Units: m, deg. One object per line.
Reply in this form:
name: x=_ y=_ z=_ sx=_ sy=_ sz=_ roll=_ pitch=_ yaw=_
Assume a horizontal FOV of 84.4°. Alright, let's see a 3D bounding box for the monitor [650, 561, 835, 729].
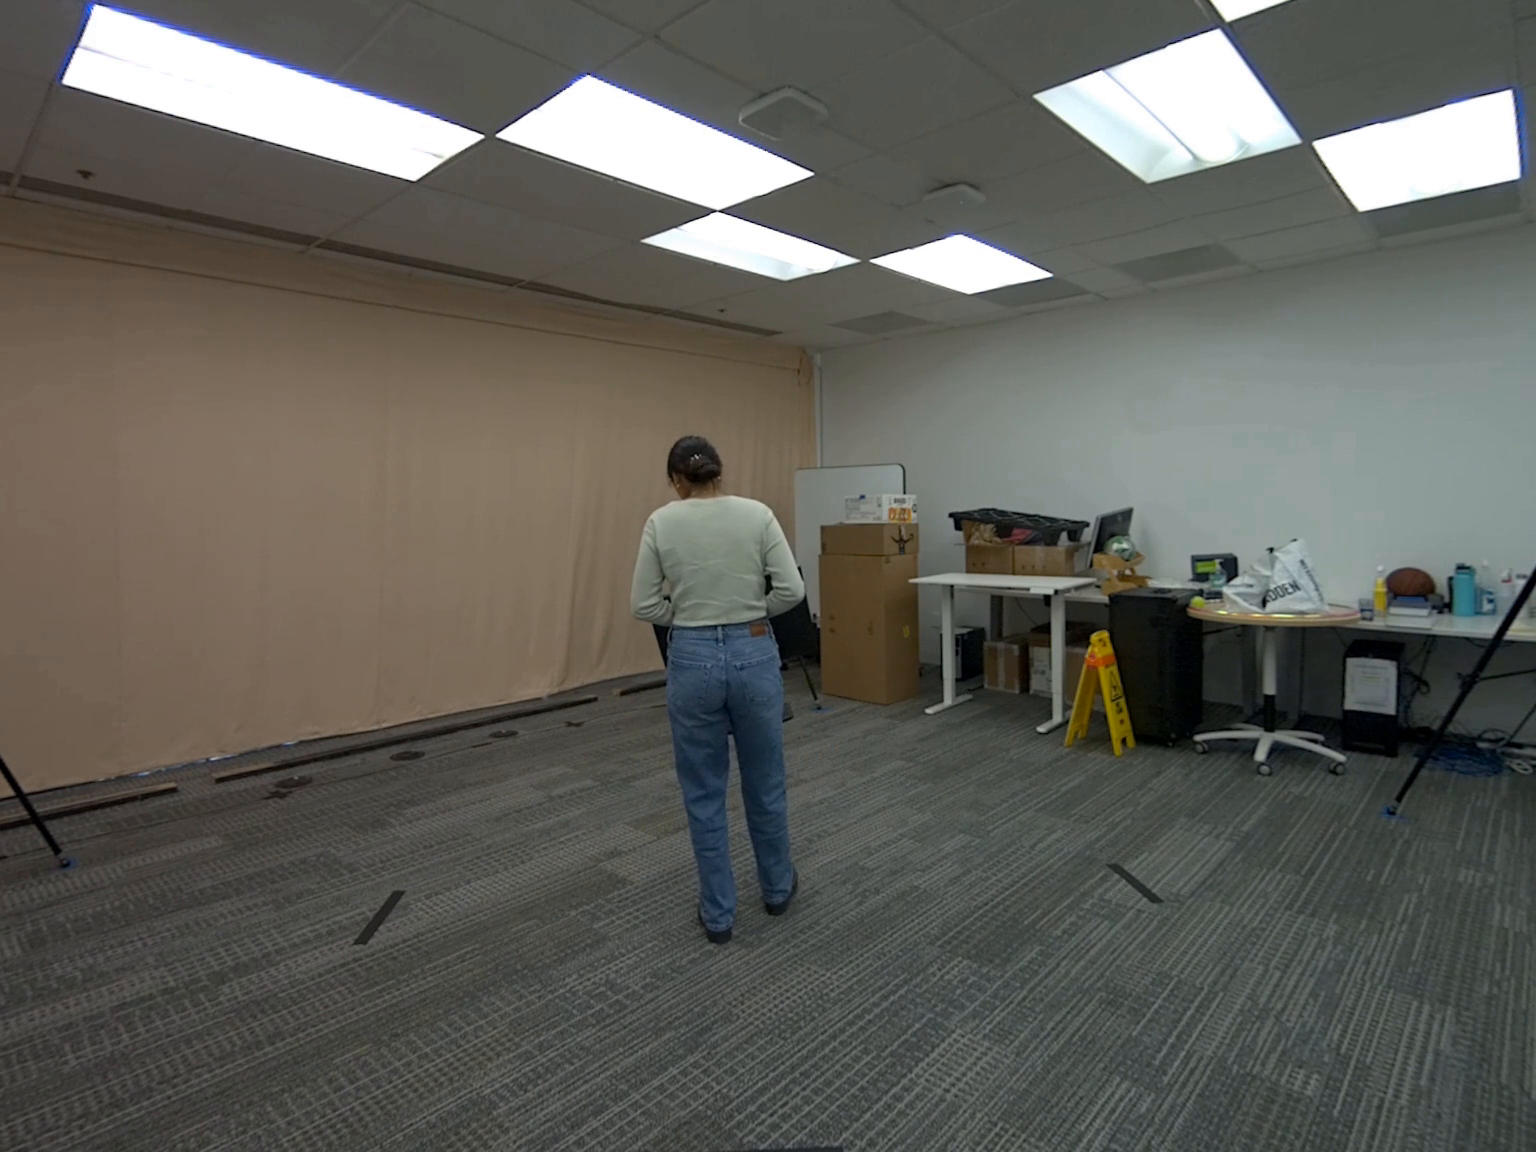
monitor: x=-0.096 y=0.261 z=2.874 sx=0.532 sy=0.514 sz=0.174 roll=-11 pitch=4 yaw=4
